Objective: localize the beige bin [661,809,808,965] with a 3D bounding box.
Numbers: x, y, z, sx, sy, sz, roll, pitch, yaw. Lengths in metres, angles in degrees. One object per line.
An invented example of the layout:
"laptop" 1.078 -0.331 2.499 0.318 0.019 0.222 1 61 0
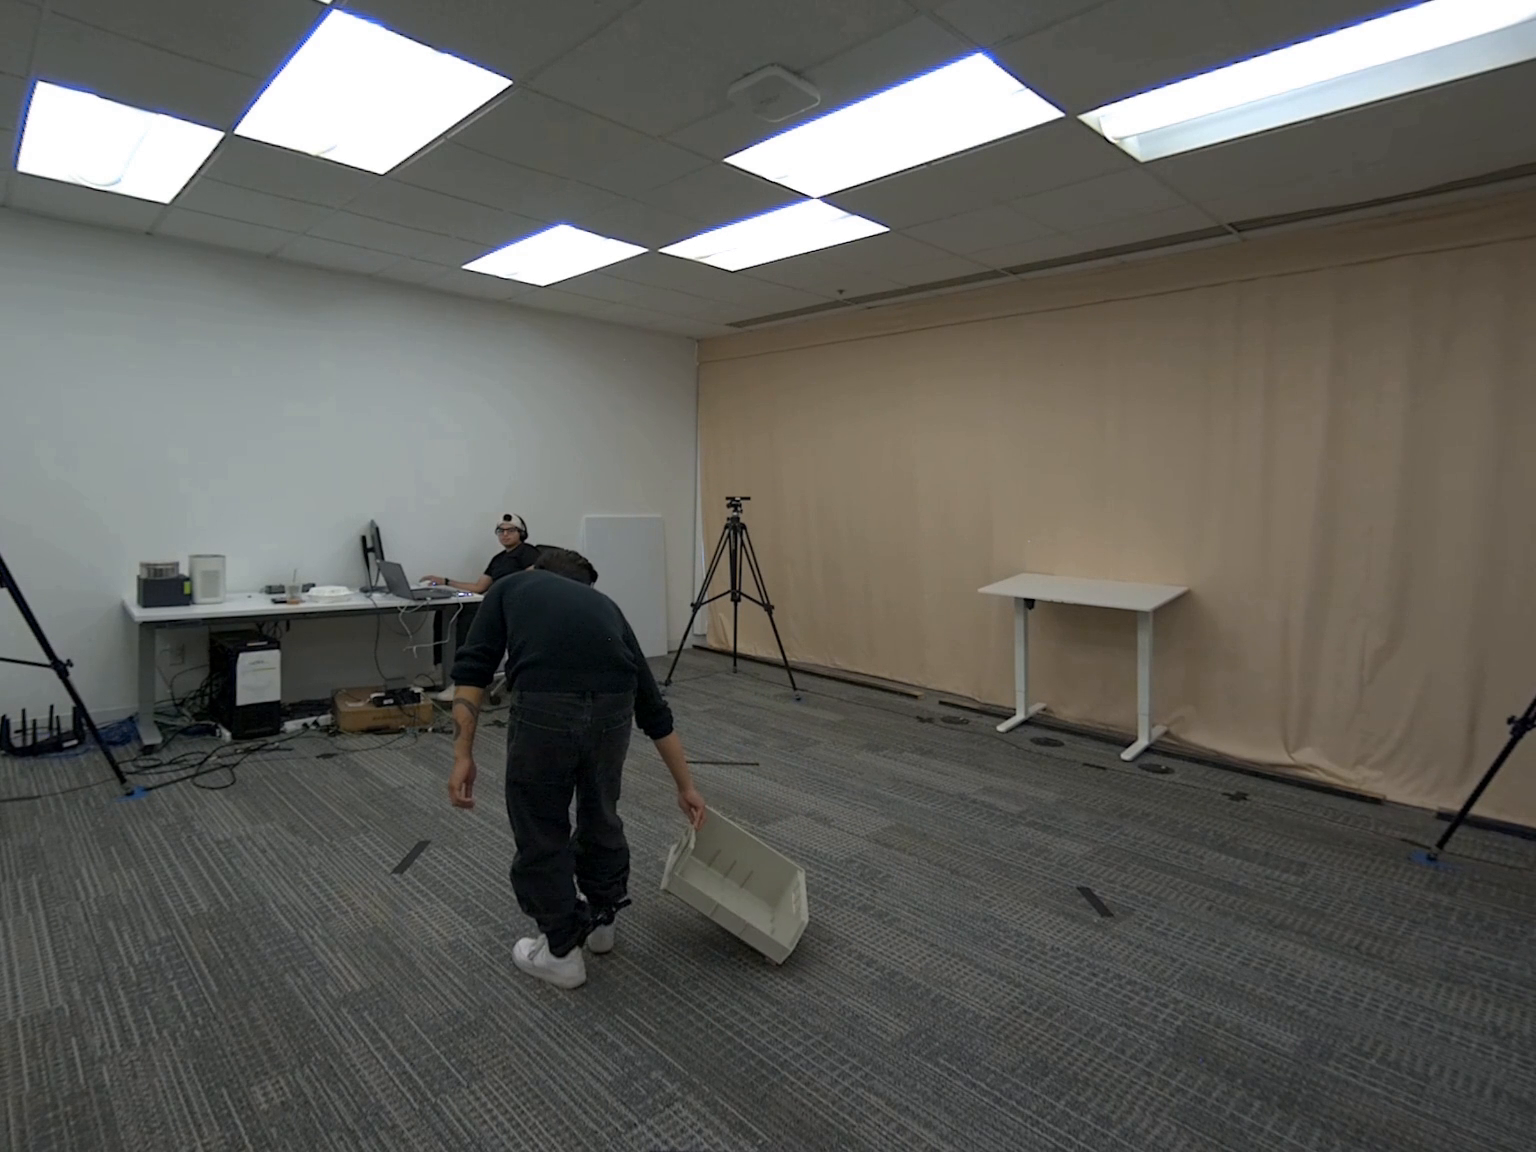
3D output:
"beige bin" -0.108 0.968 2.641 0.422 0.189 0.378 32 4 -1
